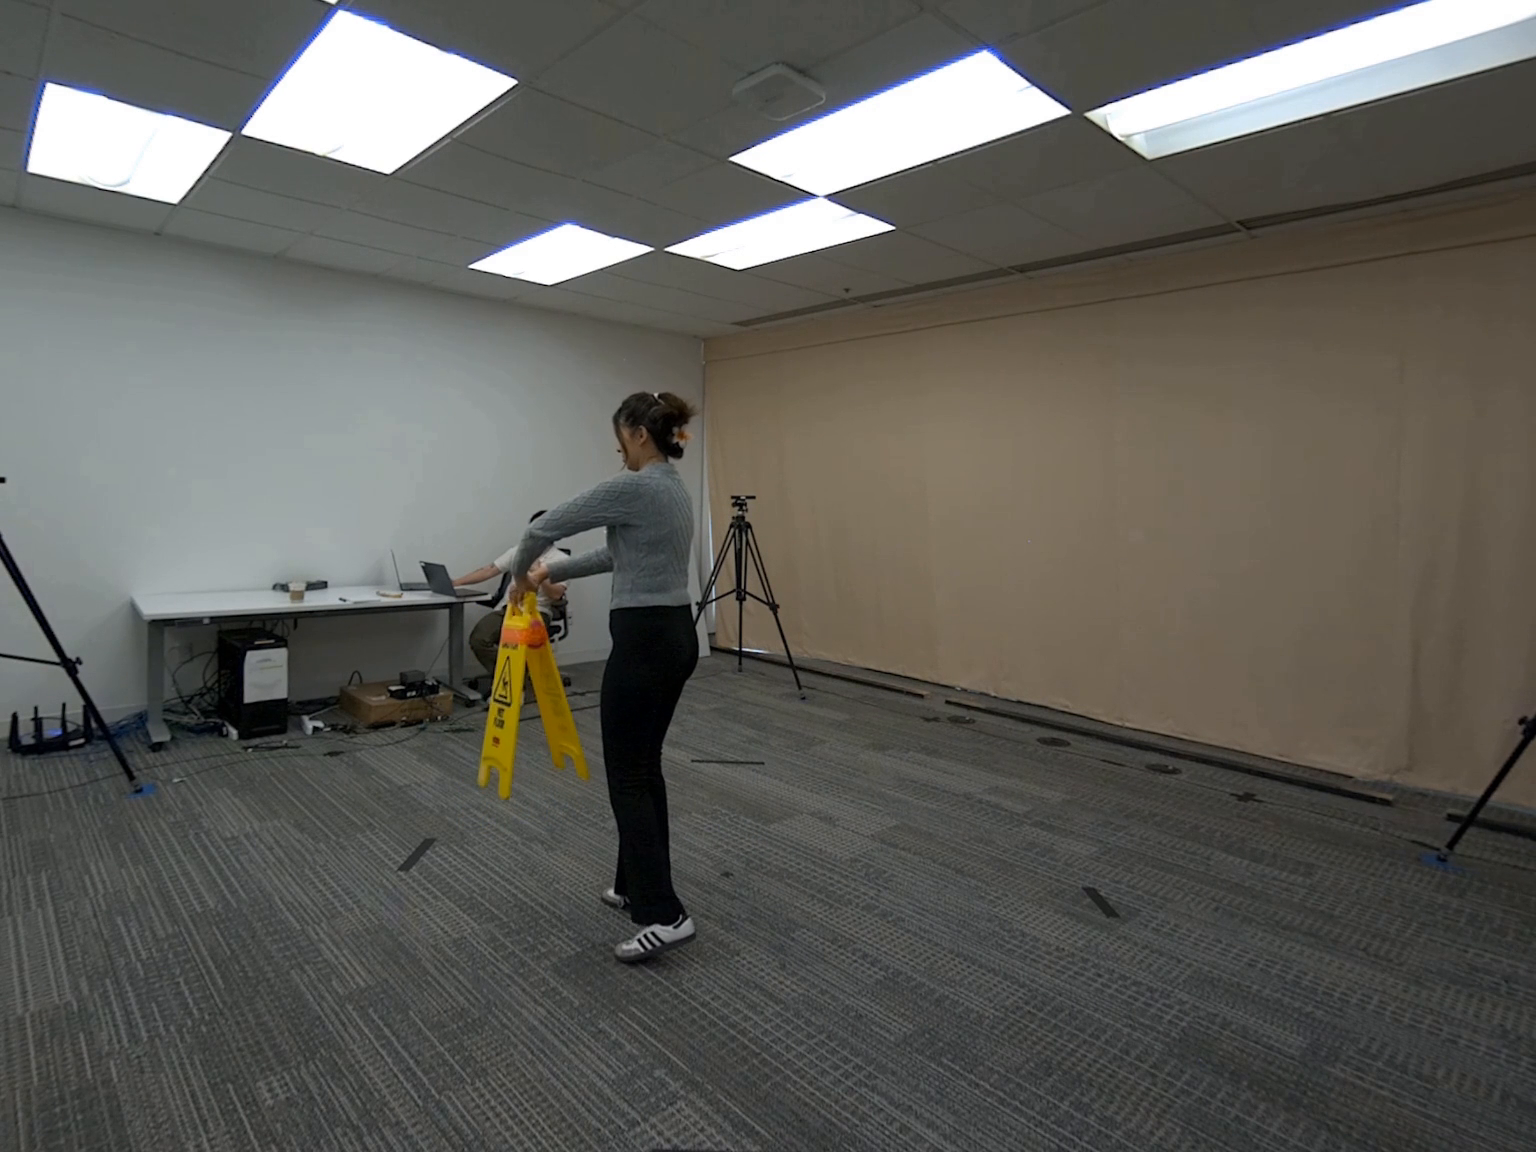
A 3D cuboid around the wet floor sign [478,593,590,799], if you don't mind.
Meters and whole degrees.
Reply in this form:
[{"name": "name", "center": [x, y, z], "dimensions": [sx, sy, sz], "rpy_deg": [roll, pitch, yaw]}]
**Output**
[{"name": "wet floor sign", "center": [-0.818, 0.376, 2.845], "dimensions": [0.284, 0.646, 0.288], "rpy_deg": [-4, -1, -36]}]
